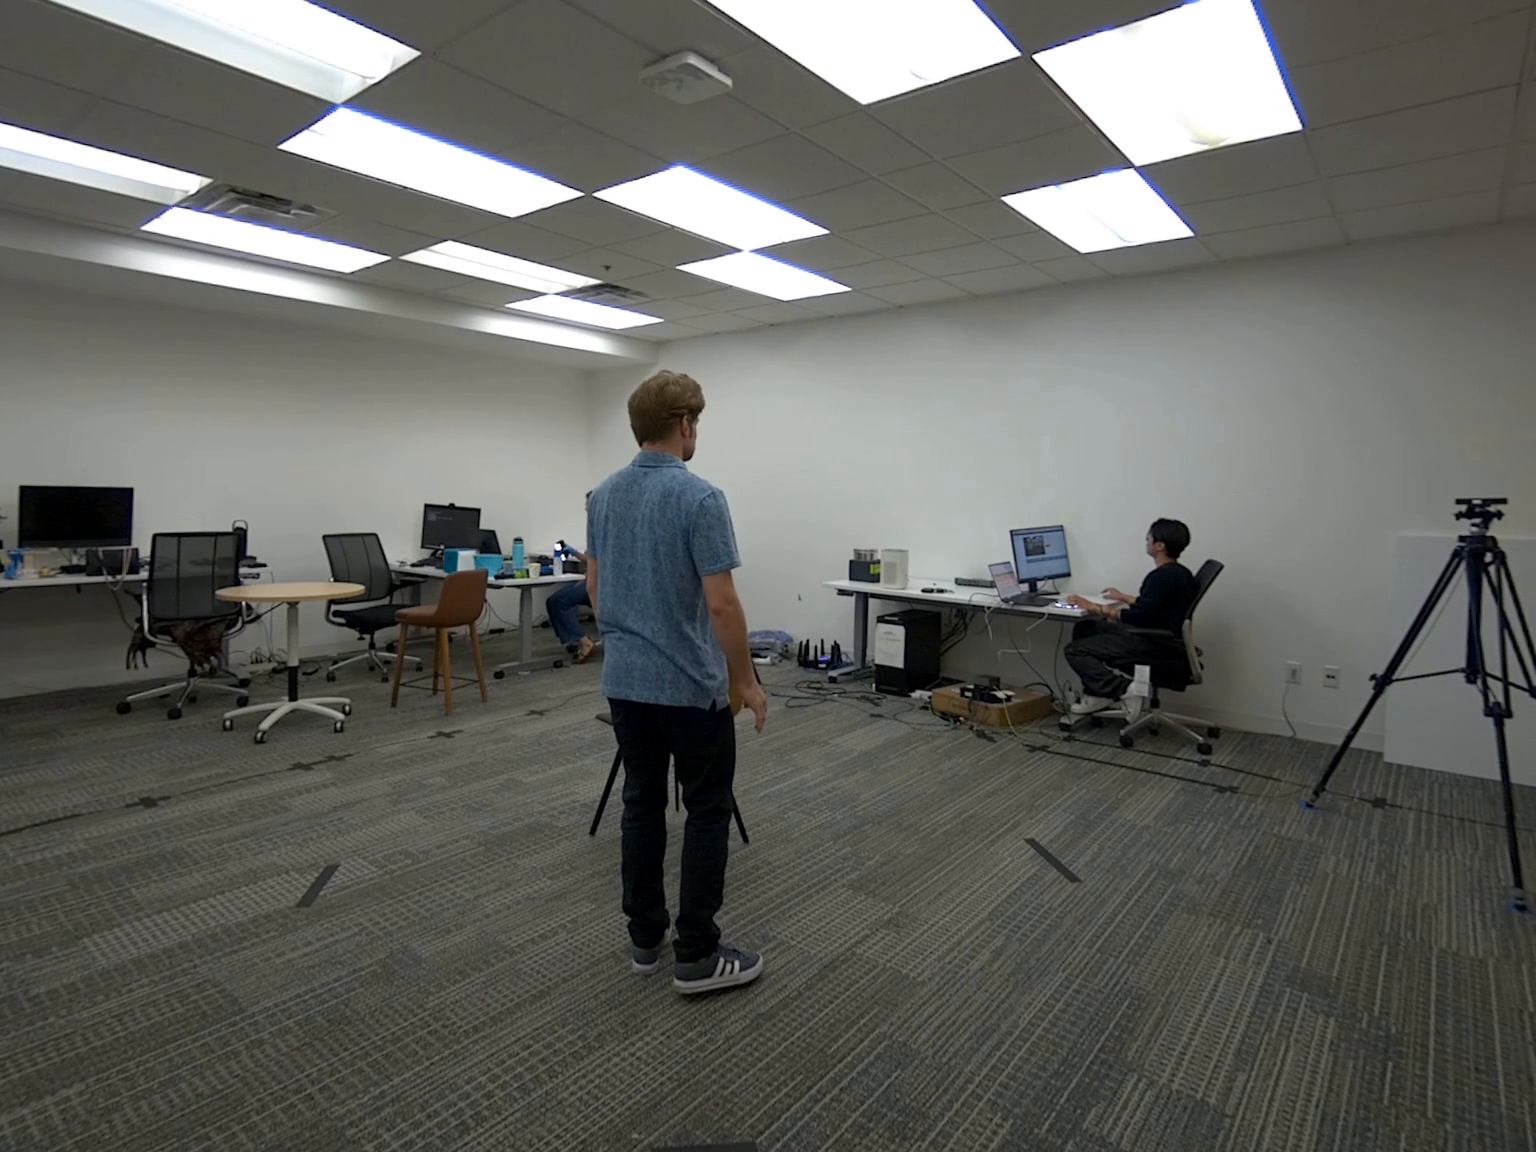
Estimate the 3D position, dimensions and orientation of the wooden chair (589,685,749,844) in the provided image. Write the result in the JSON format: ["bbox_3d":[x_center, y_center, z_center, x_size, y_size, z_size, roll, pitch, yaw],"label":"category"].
[{"bbox_3d":[-0.396,0.612,3.352,0.463,0.872,0.542,-2,9,-43],"label":"wooden chair"}]
